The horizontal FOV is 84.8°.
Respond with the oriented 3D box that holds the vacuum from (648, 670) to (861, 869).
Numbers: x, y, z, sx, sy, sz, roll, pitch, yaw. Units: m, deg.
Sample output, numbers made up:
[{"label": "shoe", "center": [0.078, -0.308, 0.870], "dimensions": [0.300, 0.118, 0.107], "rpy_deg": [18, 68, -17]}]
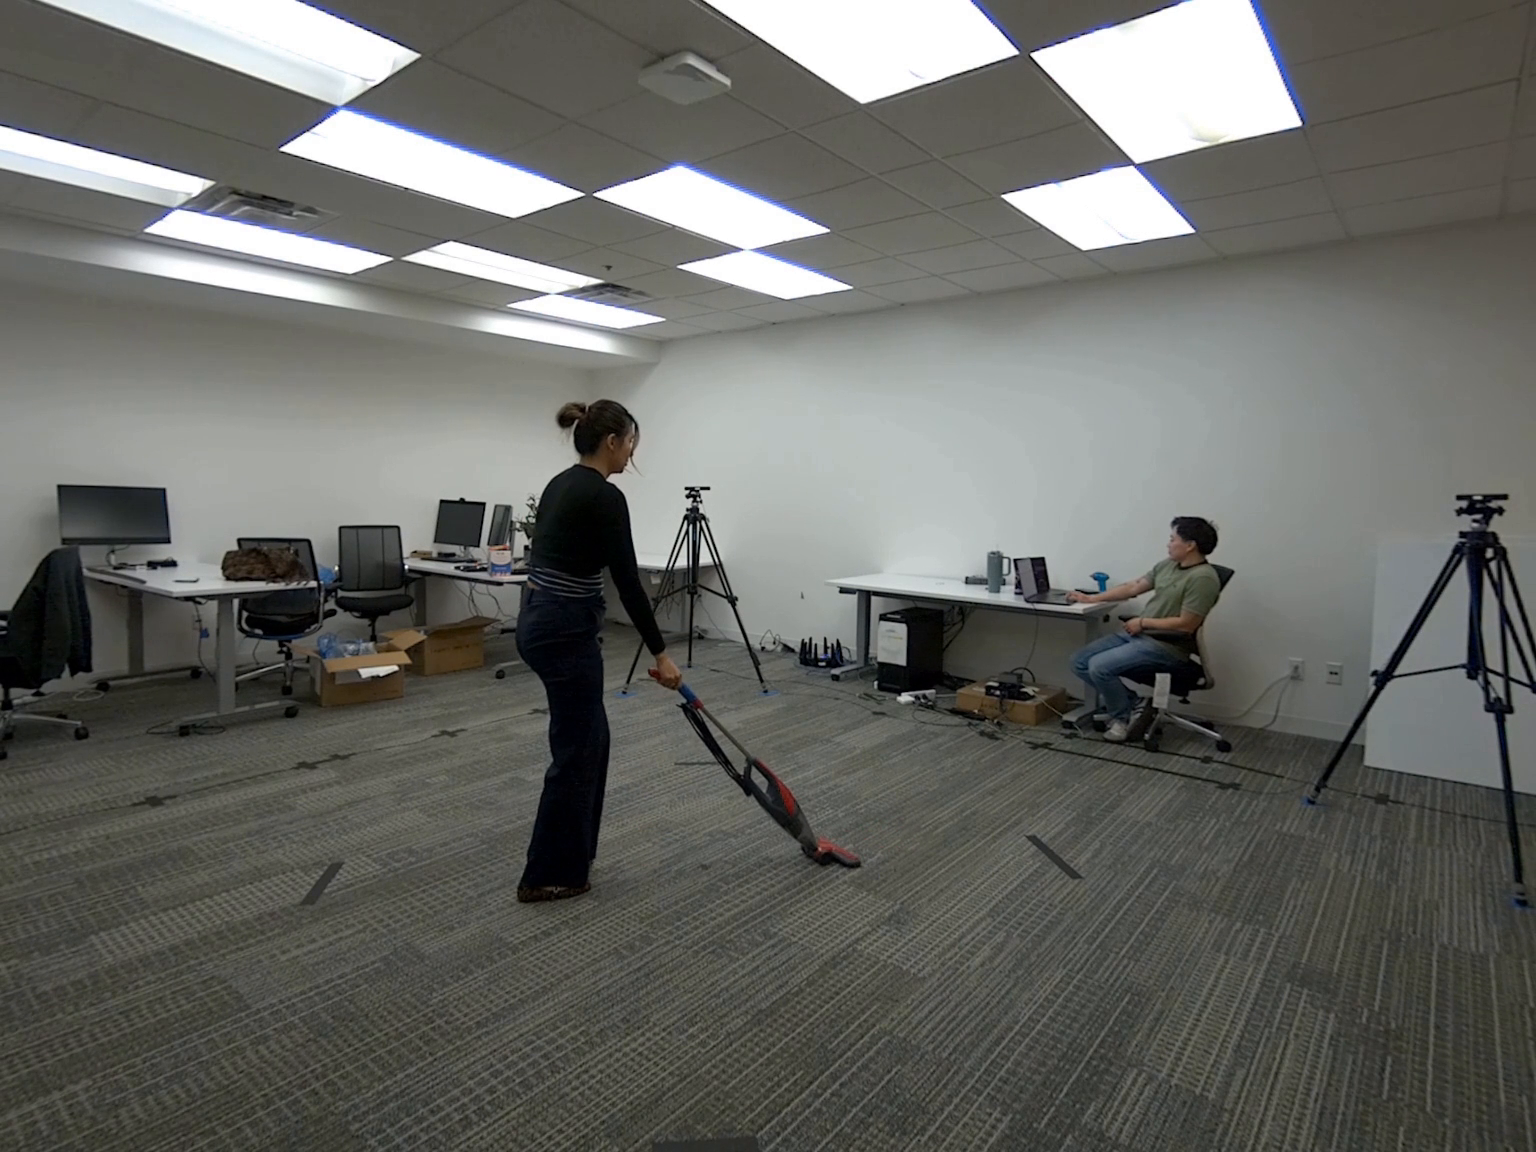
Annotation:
[{"label": "vacuum", "center": [-0.079, 0.686, 3.042], "dimensions": [0.144, 1.020, 0.260], "rpy_deg": [-47, 23, -20]}]
